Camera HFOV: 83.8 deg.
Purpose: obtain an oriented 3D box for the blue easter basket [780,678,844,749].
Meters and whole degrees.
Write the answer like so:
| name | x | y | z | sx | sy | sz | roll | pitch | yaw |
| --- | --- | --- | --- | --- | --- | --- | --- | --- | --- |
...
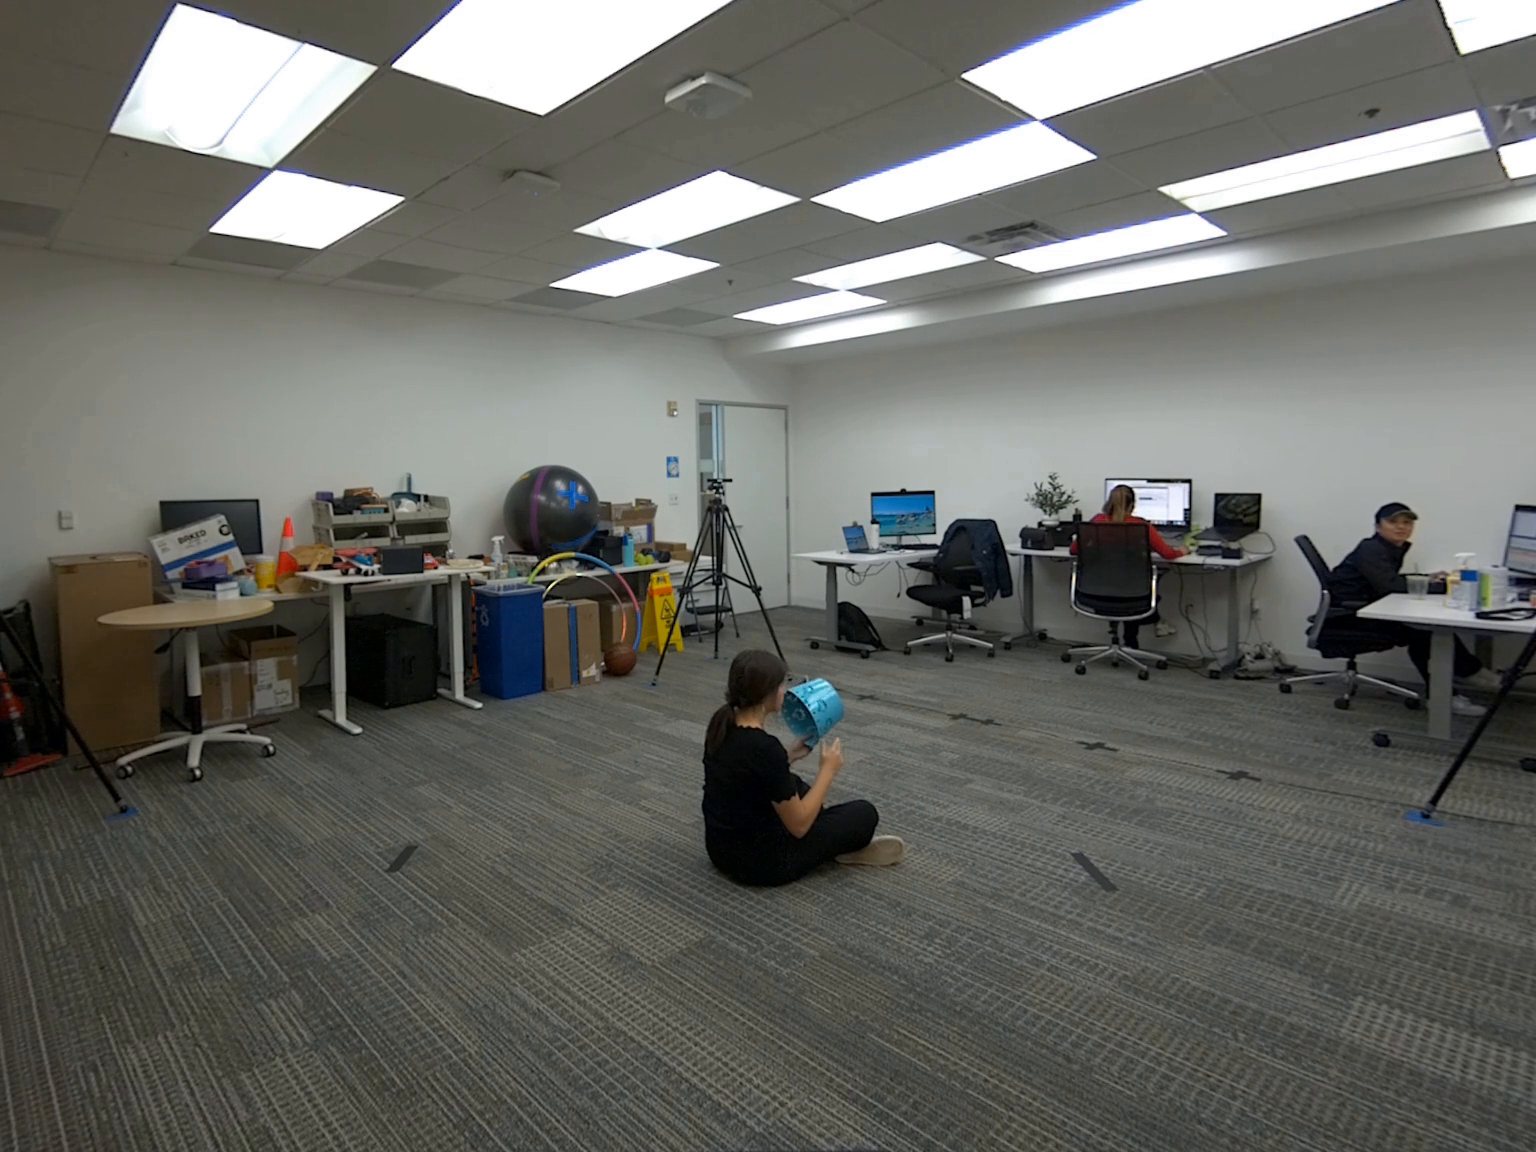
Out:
| name | x | y | z | sx | sy | sz | roll | pitch | yaw |
| --- | --- | --- | --- | --- | --- | --- | --- | --- | --- |
| blue easter basket | 0.172 | 0.502 | 3.262 | 0.154 | 0.240 | 0.250 | -24 | 16 | -27 |
